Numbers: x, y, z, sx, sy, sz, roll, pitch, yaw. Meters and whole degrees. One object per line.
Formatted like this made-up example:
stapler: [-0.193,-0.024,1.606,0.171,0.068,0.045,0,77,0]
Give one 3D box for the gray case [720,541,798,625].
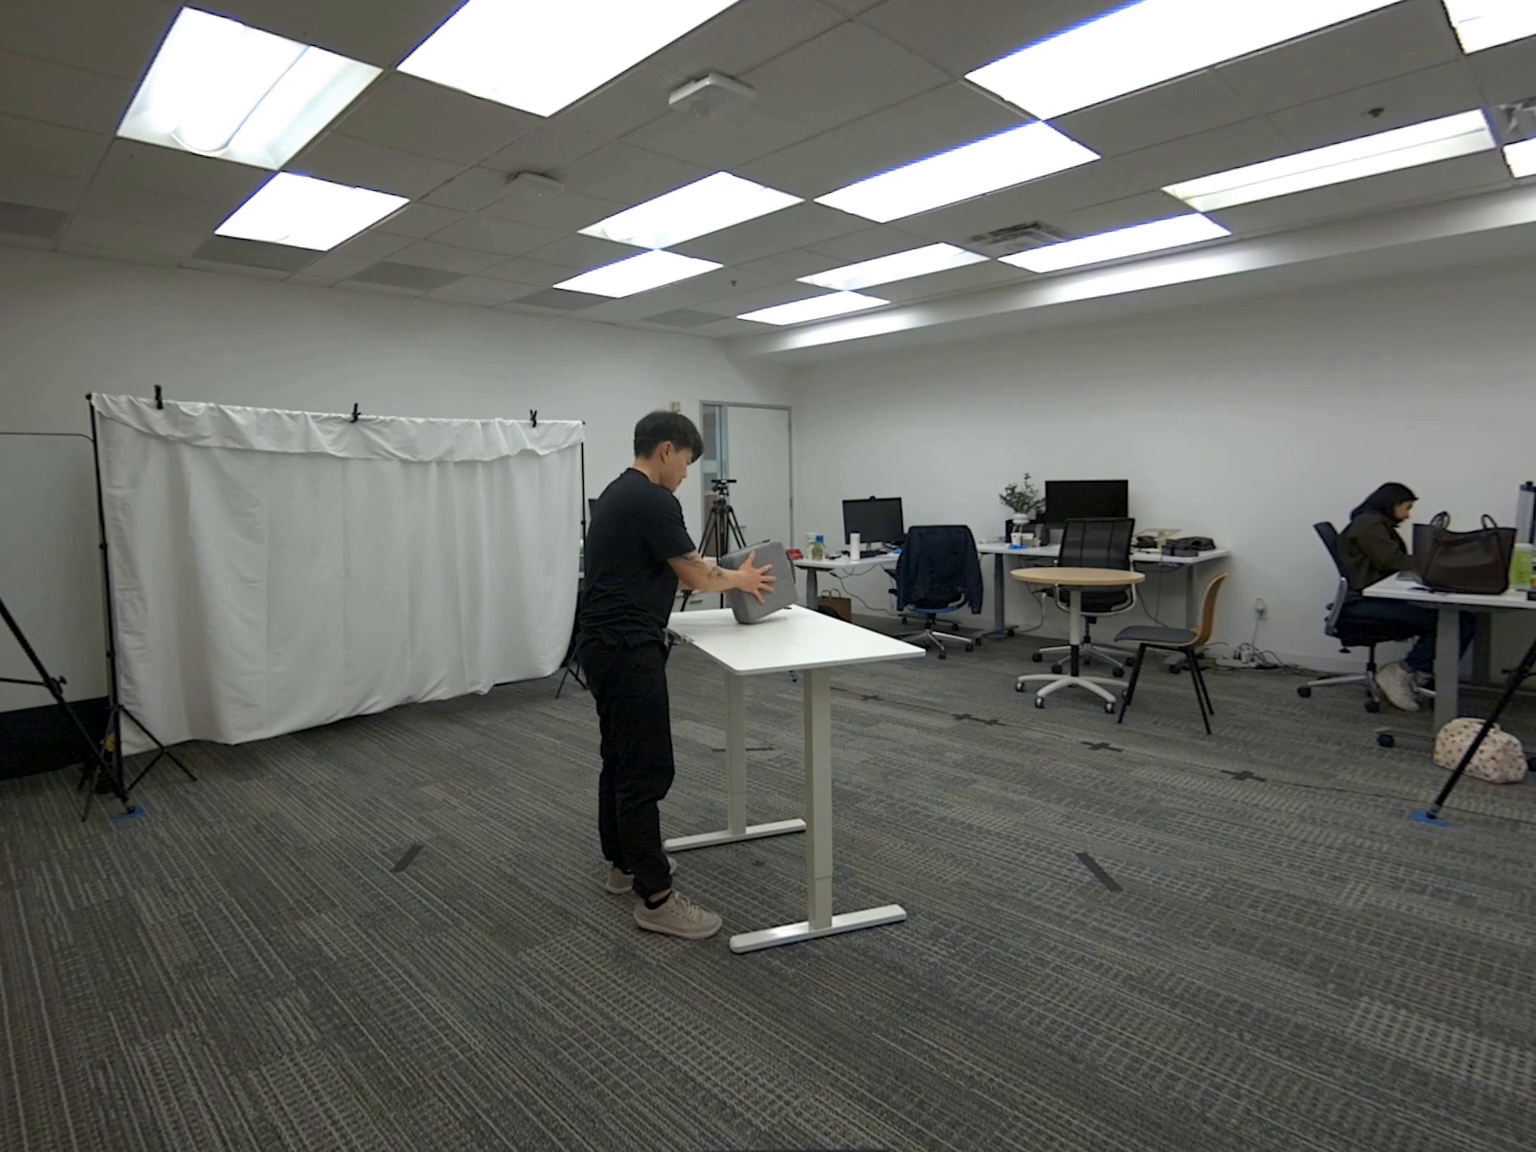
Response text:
gray case: [-0.032,0.018,3.093,0.256,0.256,0.106,-21,5,-33]
